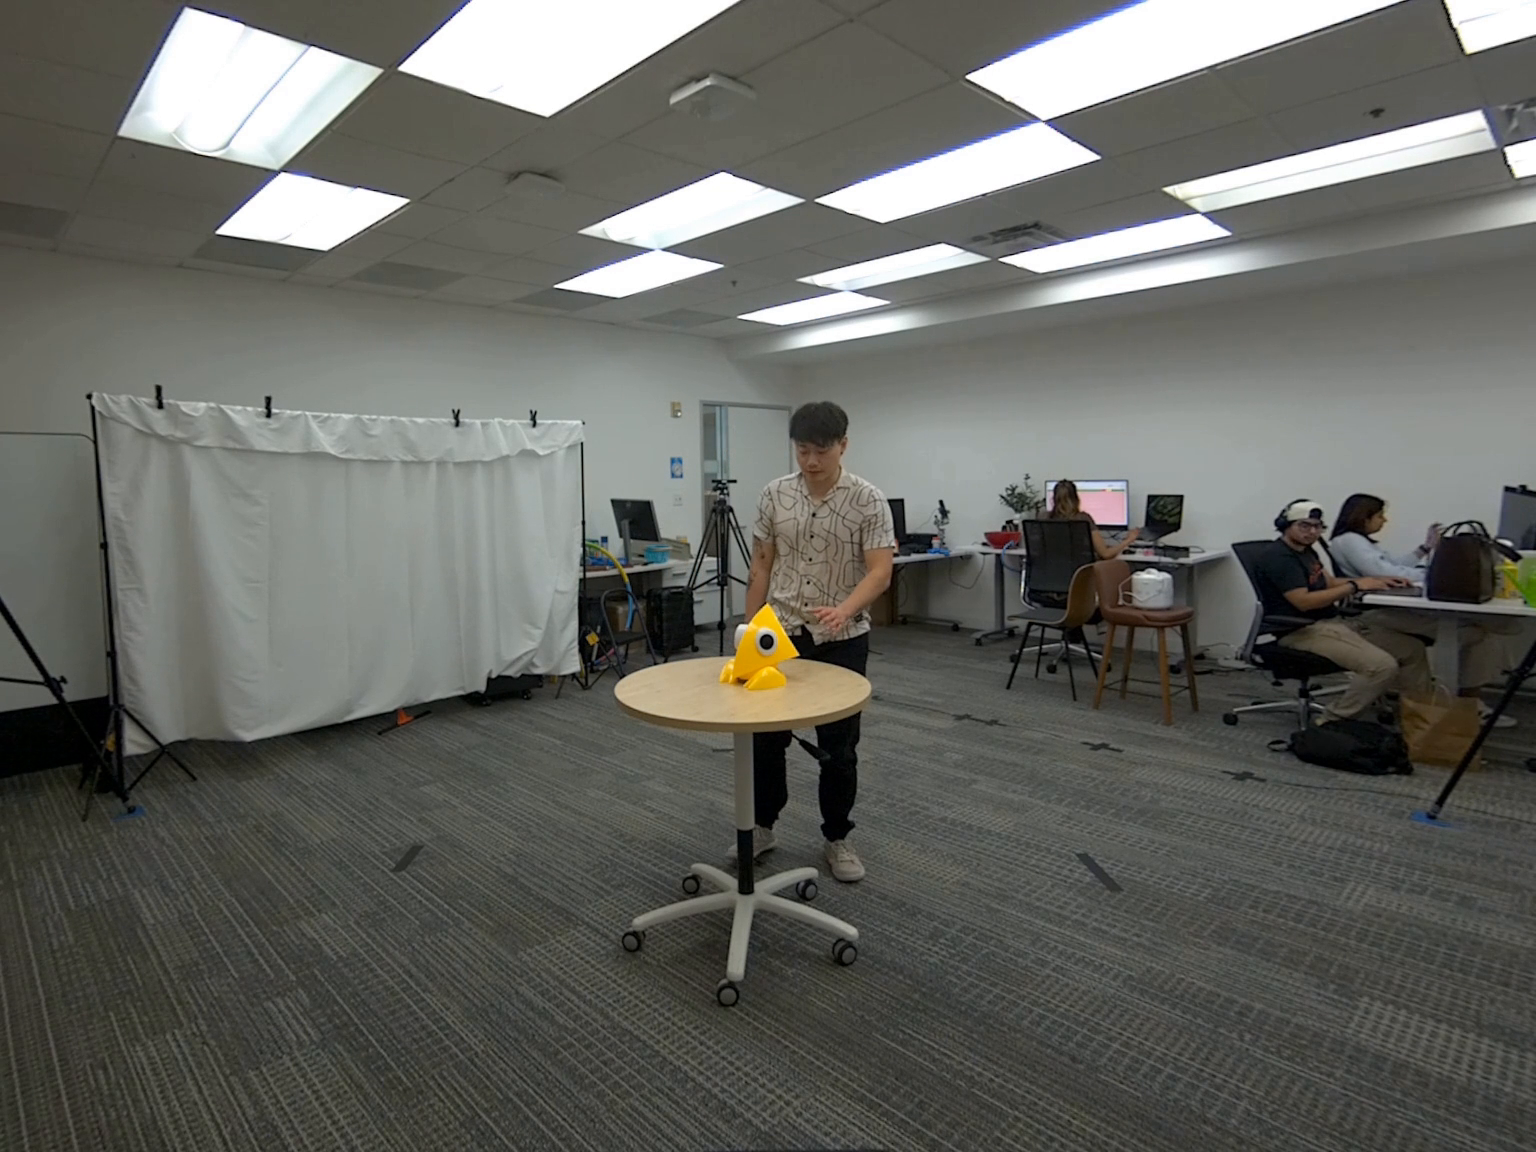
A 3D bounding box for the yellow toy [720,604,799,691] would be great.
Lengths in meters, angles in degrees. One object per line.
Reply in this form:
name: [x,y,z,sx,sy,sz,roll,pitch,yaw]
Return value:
yellow toy: [-0.039,0.210,2.599,0.188,0.229,0.211,-7,8,-43]
